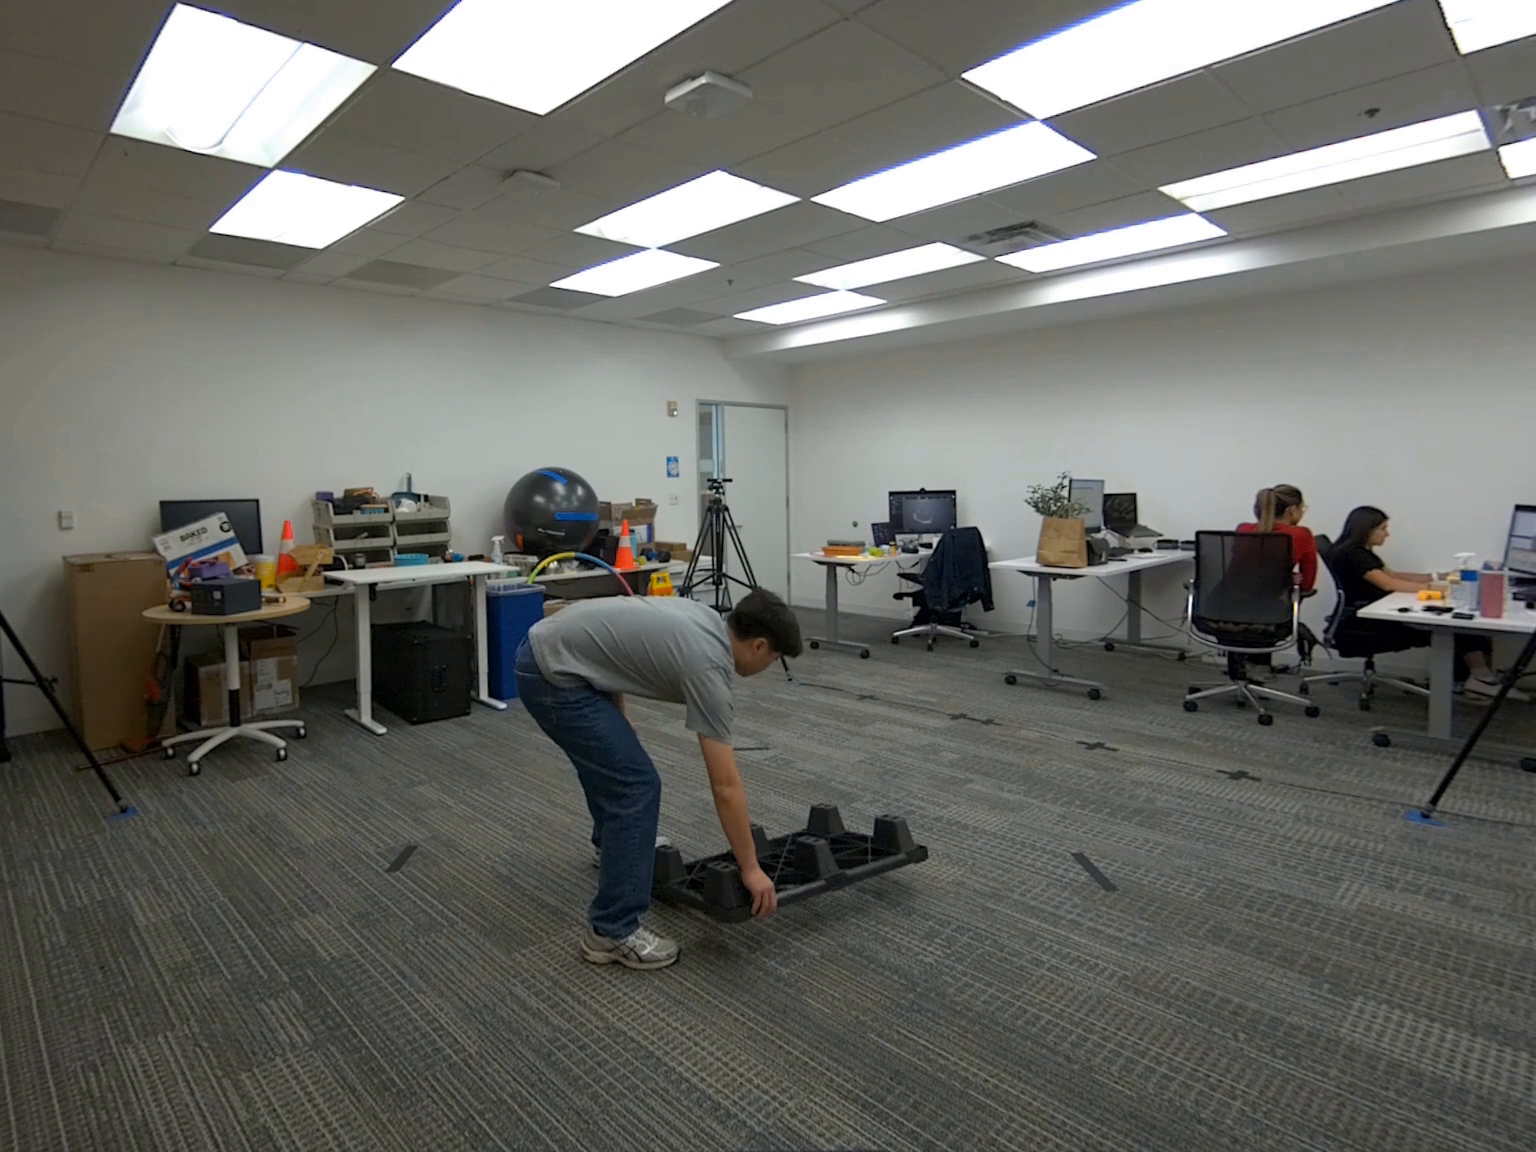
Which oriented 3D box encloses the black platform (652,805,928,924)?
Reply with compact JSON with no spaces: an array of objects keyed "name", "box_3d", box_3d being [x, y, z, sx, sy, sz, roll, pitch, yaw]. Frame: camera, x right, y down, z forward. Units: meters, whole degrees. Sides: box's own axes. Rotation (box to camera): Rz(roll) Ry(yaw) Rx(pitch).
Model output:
[{"name":"black platform","box_3d":[0.047,0.941,2.910,0.786,0.144,0.617,-5,-4,-34]}]
